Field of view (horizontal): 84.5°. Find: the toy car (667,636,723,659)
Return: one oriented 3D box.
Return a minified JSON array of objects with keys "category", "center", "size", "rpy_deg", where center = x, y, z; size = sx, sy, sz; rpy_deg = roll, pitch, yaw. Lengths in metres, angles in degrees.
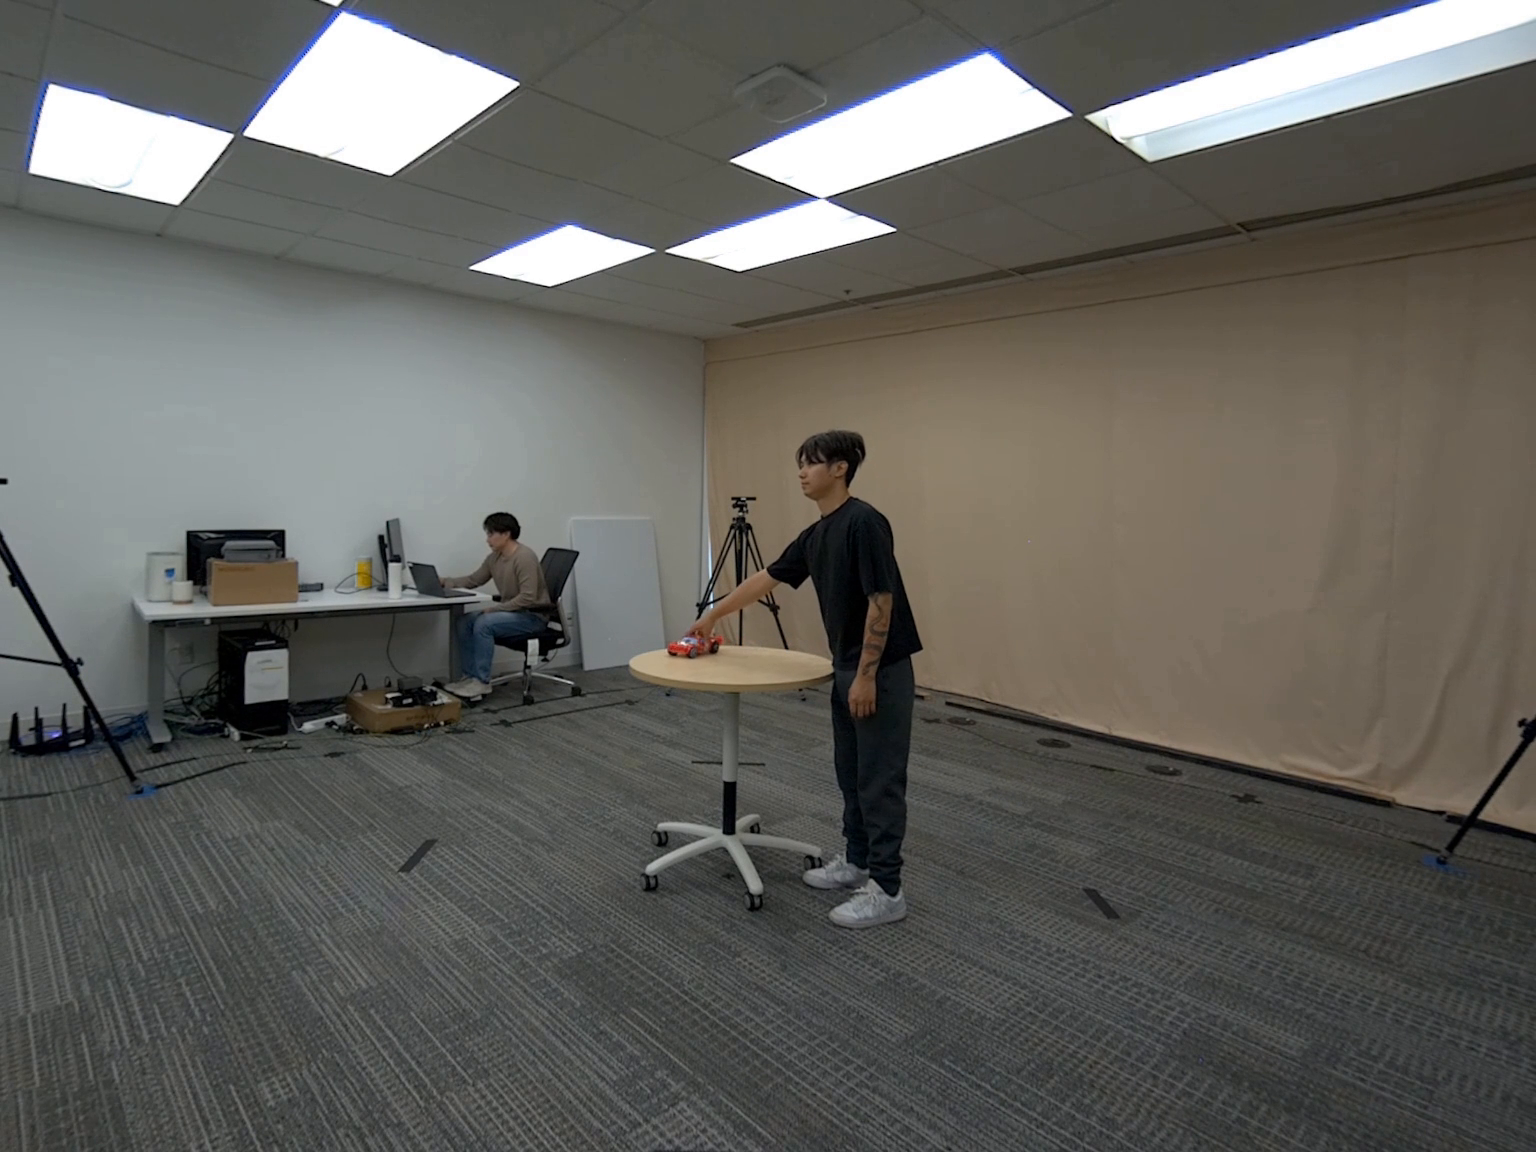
[{"category":"toy car","center":[-0.283,0.276,3.306],"size":[0.133,0.082,0.251],"rpy_deg":[3,16,35]}]
